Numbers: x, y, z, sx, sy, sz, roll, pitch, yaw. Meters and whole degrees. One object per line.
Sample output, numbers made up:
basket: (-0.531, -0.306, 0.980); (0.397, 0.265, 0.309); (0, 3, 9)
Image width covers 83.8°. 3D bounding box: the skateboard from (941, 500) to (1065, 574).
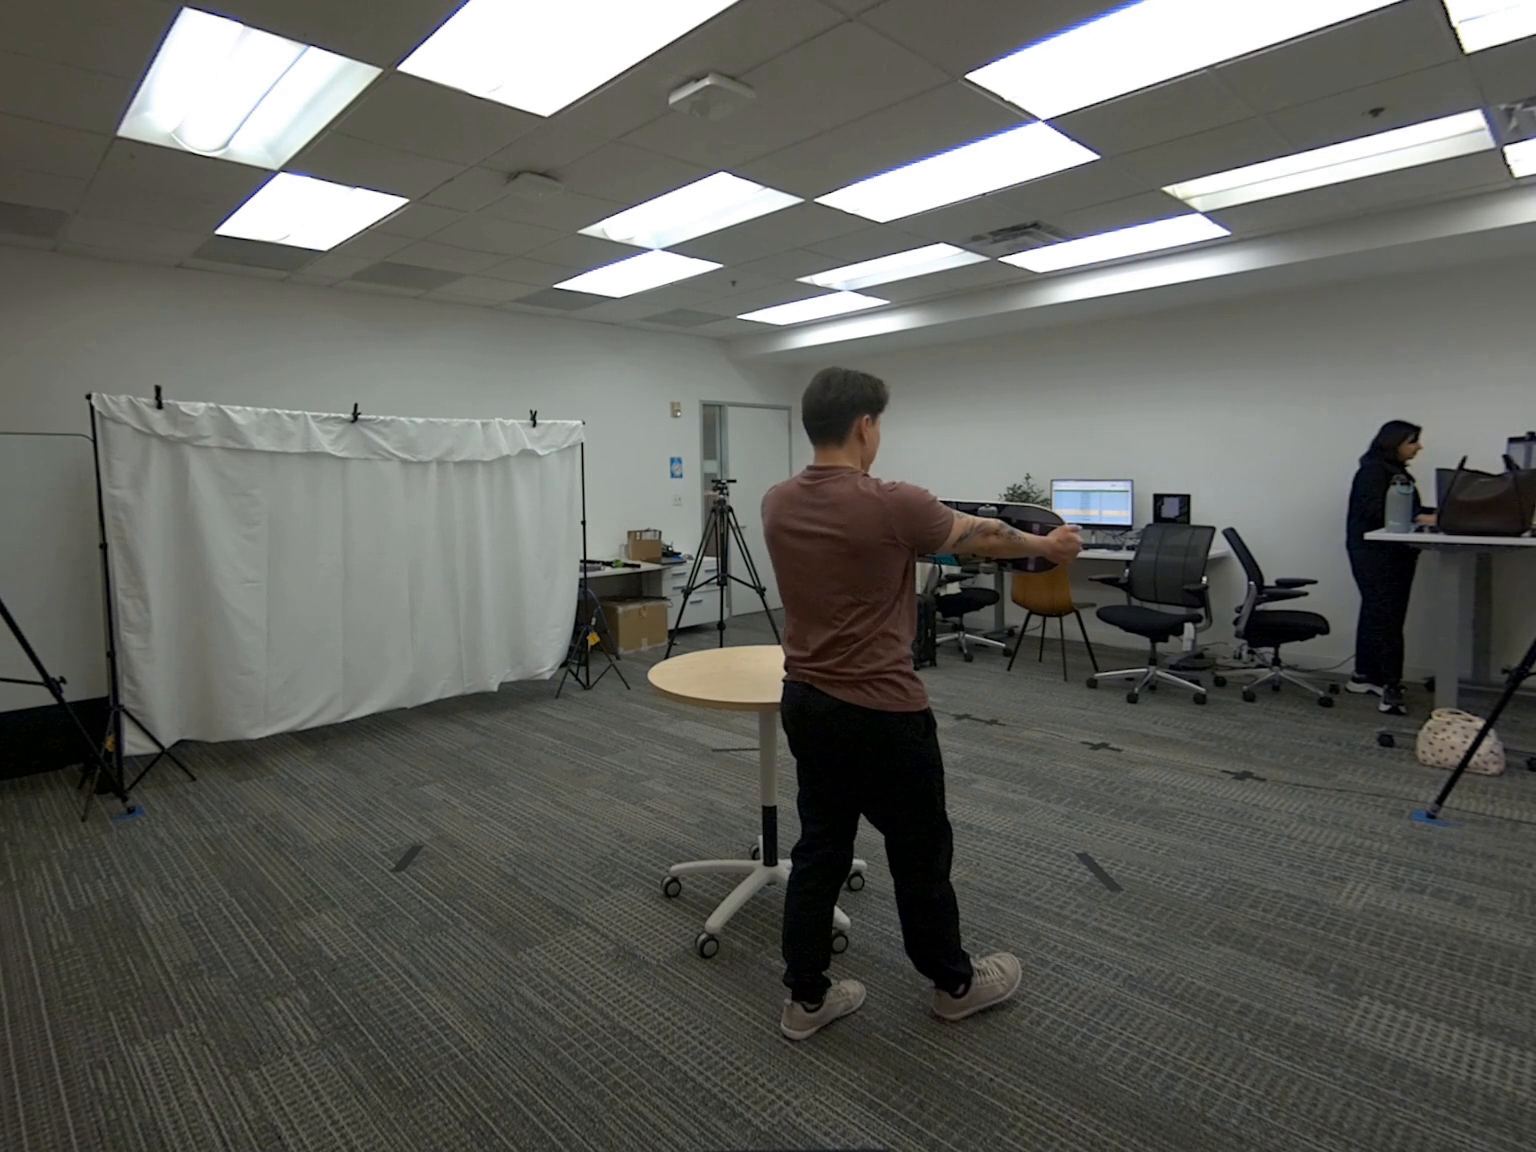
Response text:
skateboard: (0.476, -0.132, 2.499); (0.811, 0.191, 0.108); (8, 16, 41)
